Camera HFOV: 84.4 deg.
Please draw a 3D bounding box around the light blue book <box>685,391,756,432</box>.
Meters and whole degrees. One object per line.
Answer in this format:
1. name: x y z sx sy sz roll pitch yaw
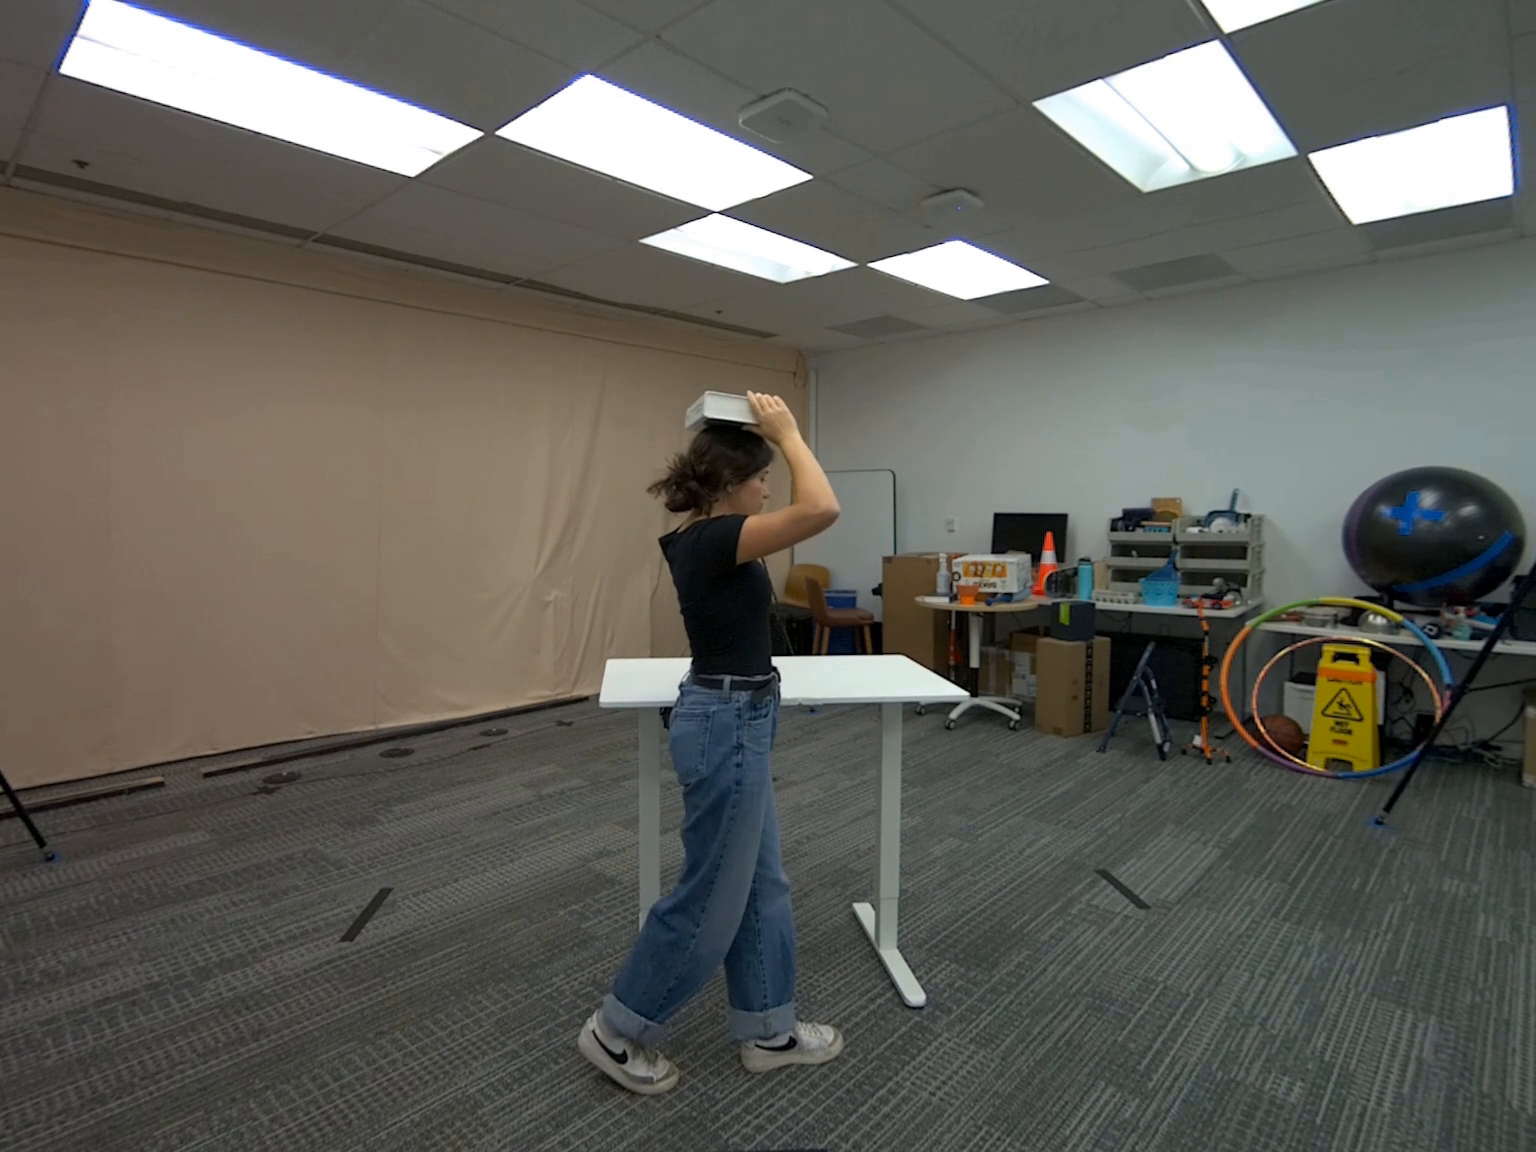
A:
1. light blue book: -0.089 -0.388 2.036 0.189 0.059 0.265 5 2 -14
